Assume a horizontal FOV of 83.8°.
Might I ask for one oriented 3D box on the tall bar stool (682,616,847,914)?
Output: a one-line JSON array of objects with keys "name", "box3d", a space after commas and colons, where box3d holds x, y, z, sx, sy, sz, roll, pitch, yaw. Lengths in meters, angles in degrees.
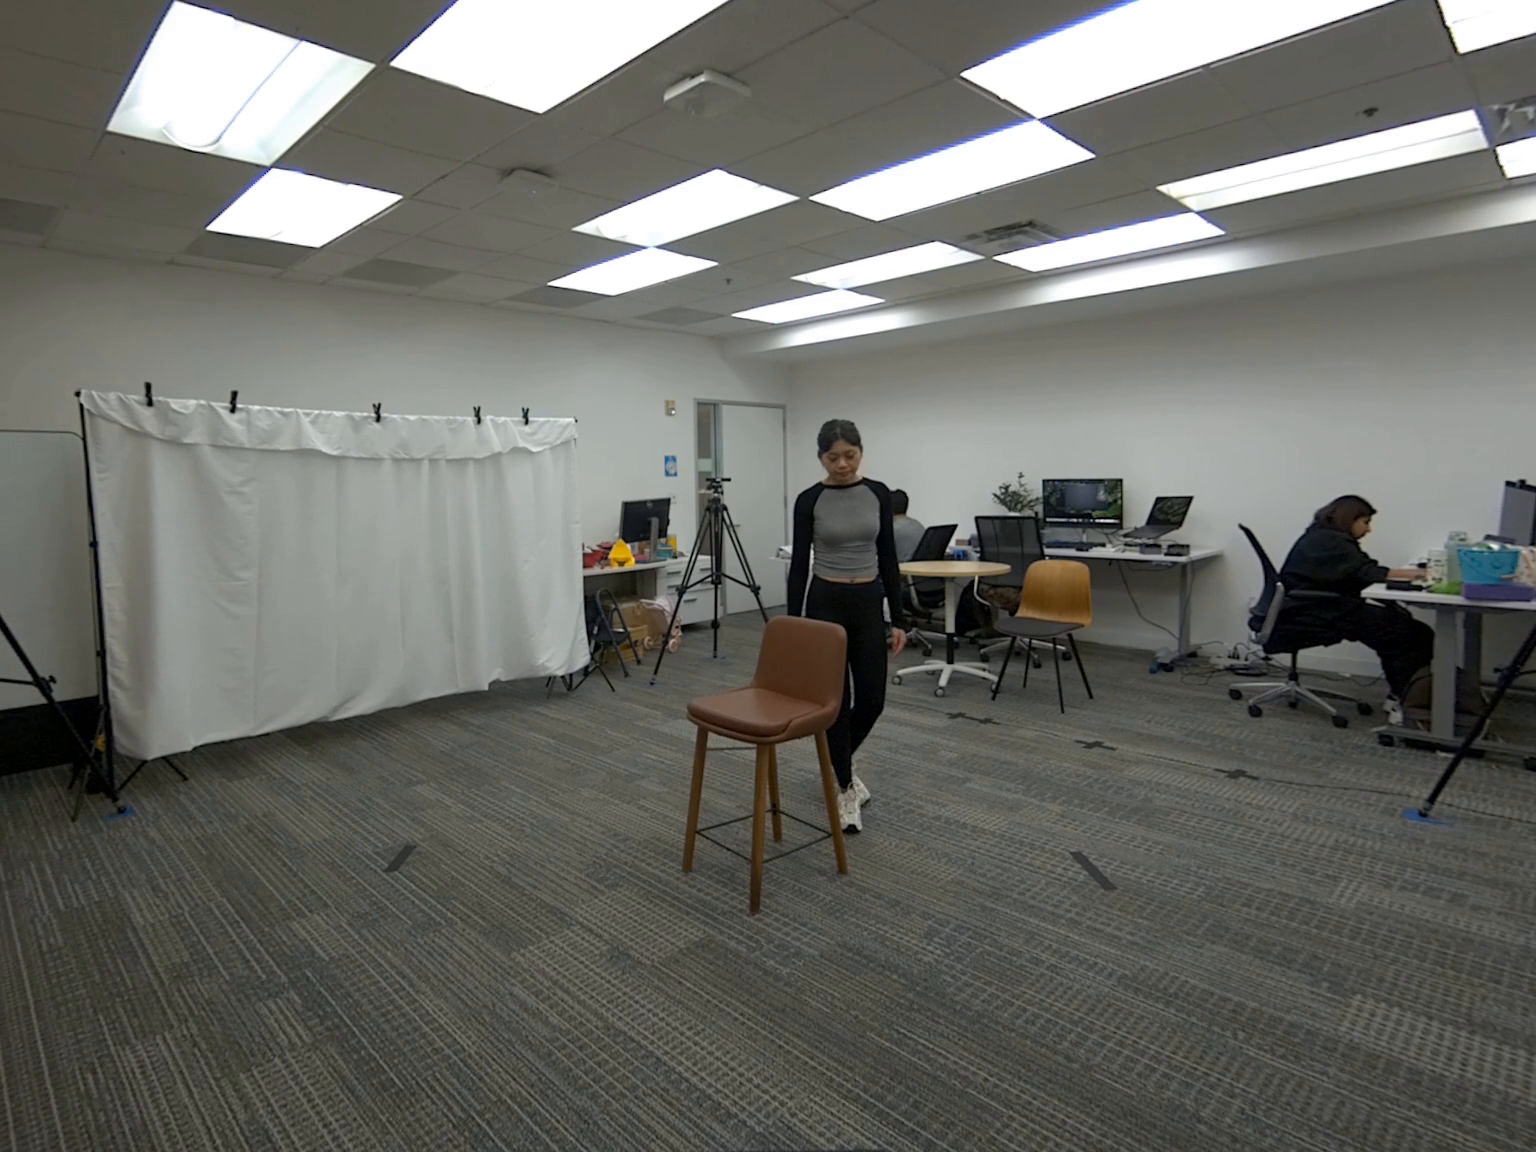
[{"name": "tall bar stool", "box3d": [-0.006, 0.616, 3.008, 0.455, 0.888, 0.470, -1, 4, -39]}]
